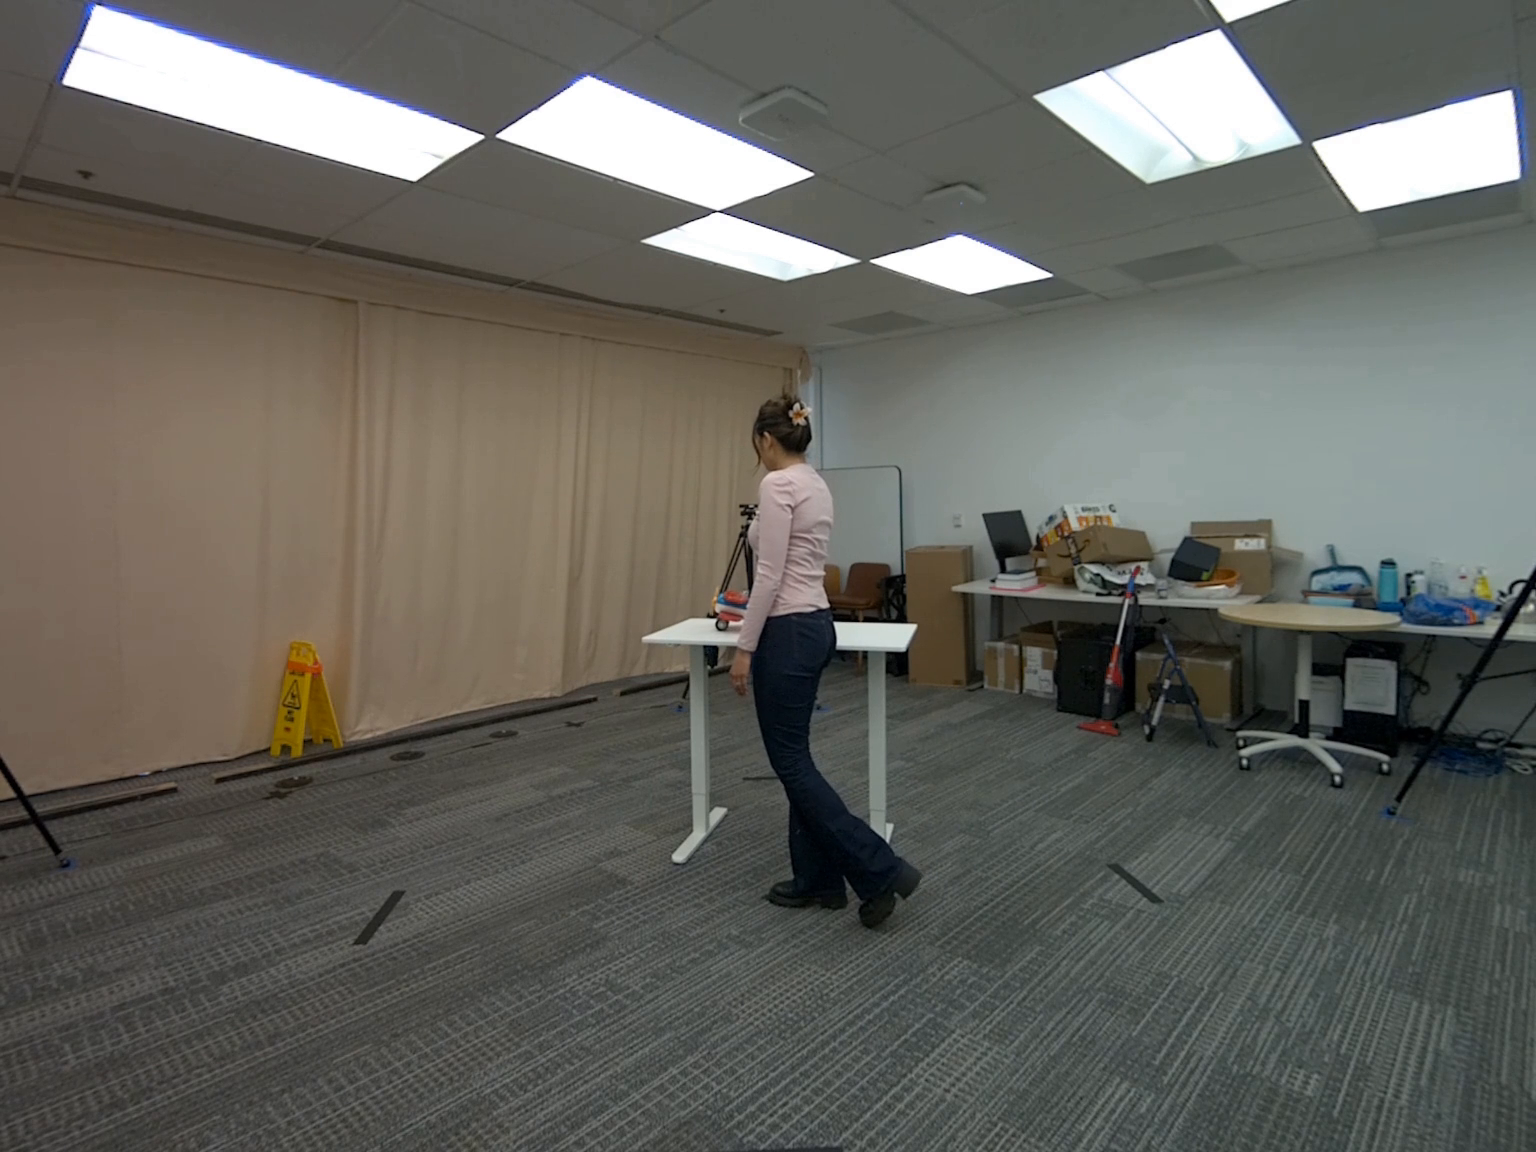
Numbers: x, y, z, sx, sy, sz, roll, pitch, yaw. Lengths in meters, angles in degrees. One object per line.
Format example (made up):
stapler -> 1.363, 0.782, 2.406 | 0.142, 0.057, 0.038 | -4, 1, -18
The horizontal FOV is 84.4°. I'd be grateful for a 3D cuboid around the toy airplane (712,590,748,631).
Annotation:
toy airplane -> -0.108, 0.140, 3.475 | 0.253, 0.156, 0.258 | -6, 7, -27
